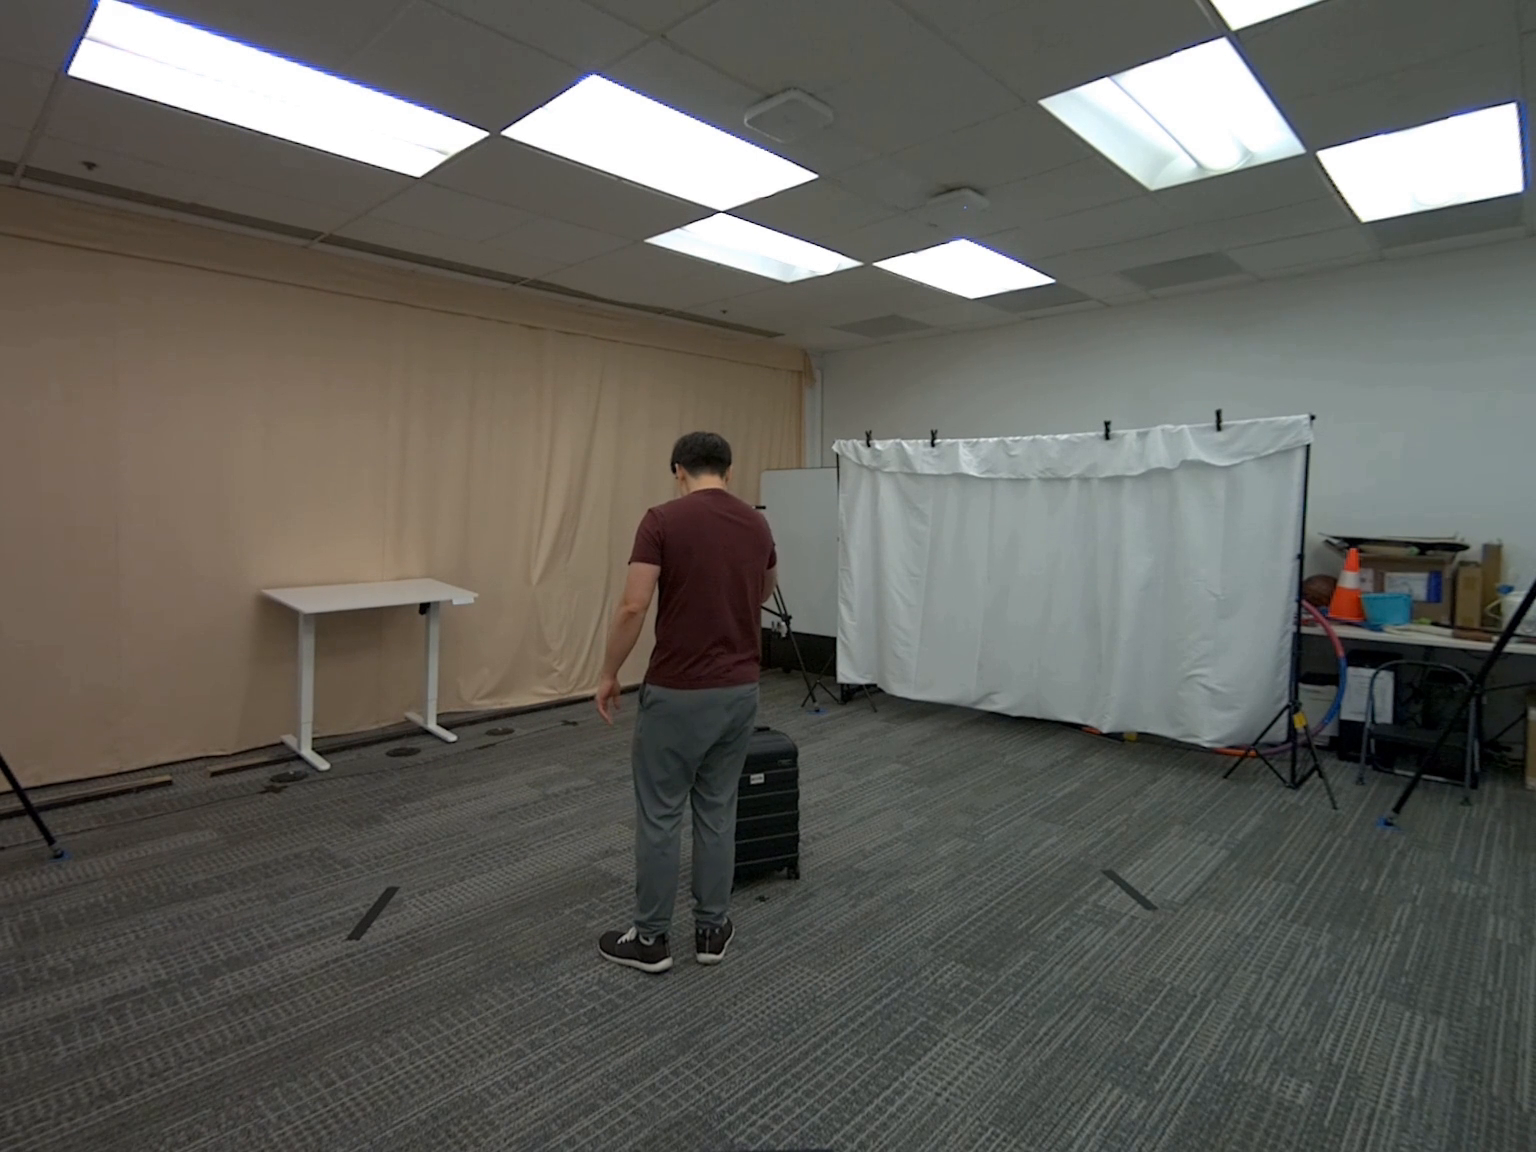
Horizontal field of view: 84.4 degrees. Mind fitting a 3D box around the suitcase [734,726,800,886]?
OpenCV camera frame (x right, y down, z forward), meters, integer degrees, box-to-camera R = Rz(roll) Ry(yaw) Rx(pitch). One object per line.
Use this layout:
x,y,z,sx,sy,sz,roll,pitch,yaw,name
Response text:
-0.067,0.652,3.143,0.376,0.976,0.263,-1,5,-23,suitcase
